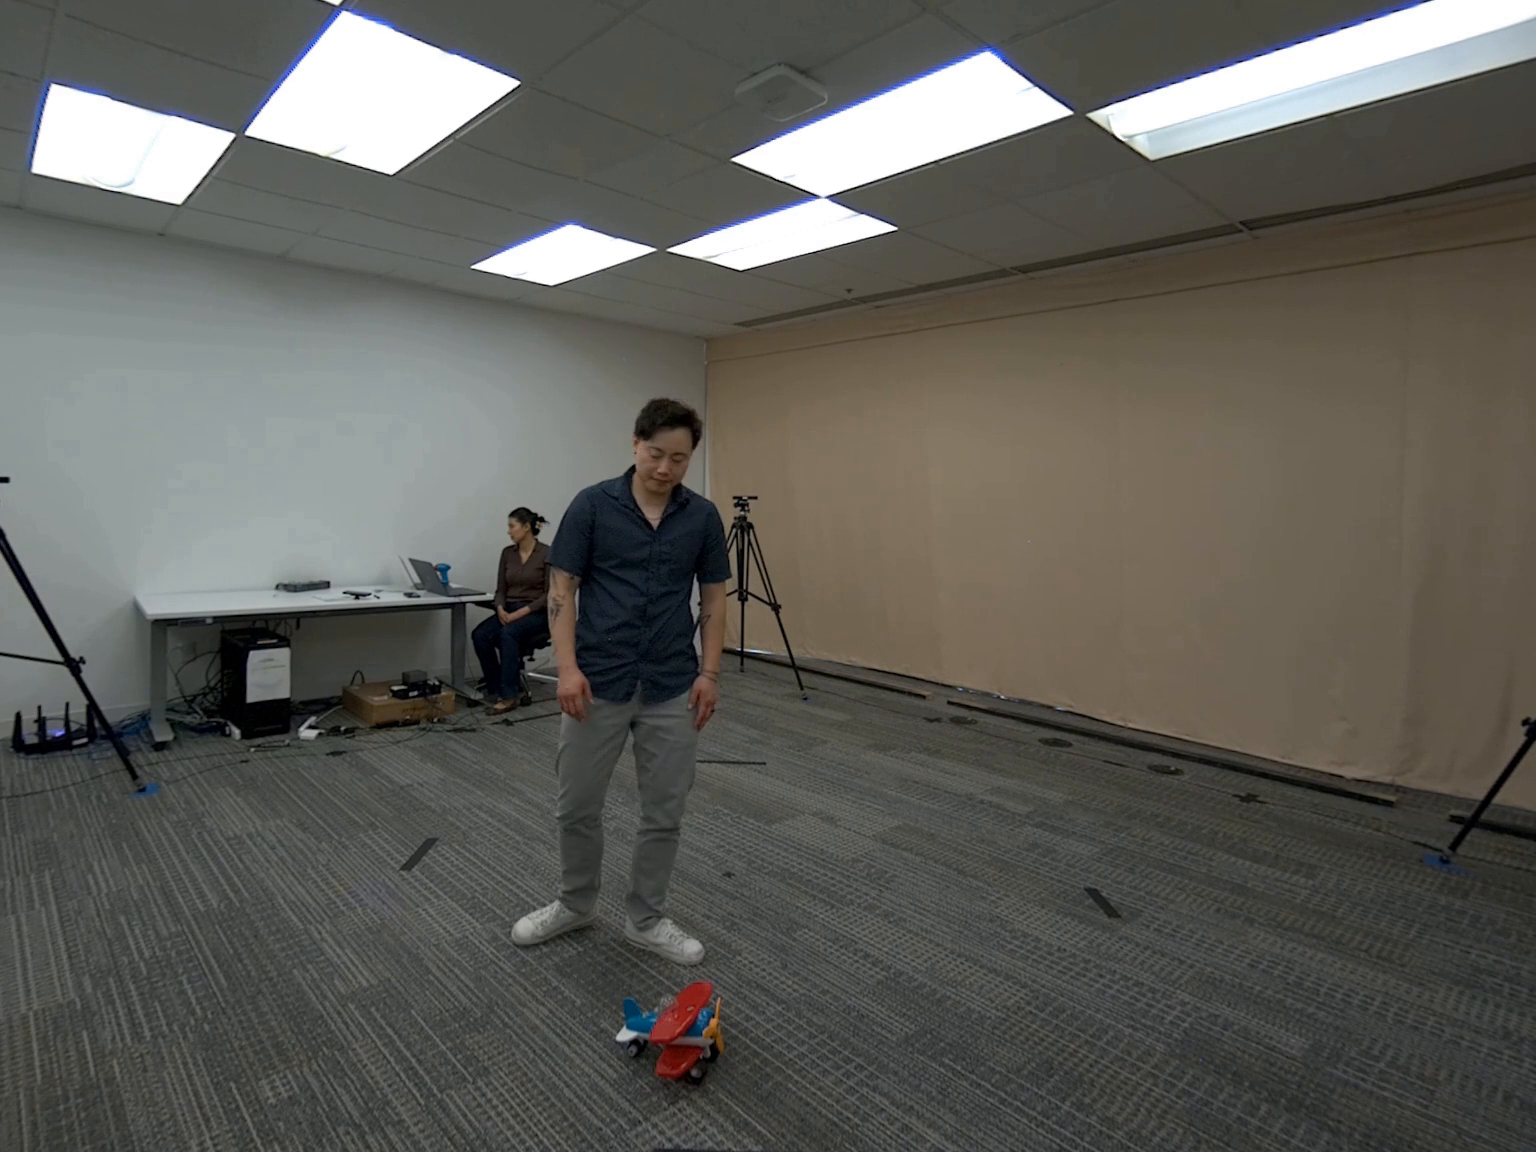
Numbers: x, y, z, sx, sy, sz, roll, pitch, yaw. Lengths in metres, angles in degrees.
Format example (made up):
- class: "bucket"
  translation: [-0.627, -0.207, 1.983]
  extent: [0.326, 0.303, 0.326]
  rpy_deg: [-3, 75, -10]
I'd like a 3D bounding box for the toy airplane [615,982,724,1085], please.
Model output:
- class: "toy airplane"
  translation: [-0.245, 1.125, 2.047]
  extent: [0.257, 0.156, 0.253]
  rpy_deg: [2, 5, -8]
